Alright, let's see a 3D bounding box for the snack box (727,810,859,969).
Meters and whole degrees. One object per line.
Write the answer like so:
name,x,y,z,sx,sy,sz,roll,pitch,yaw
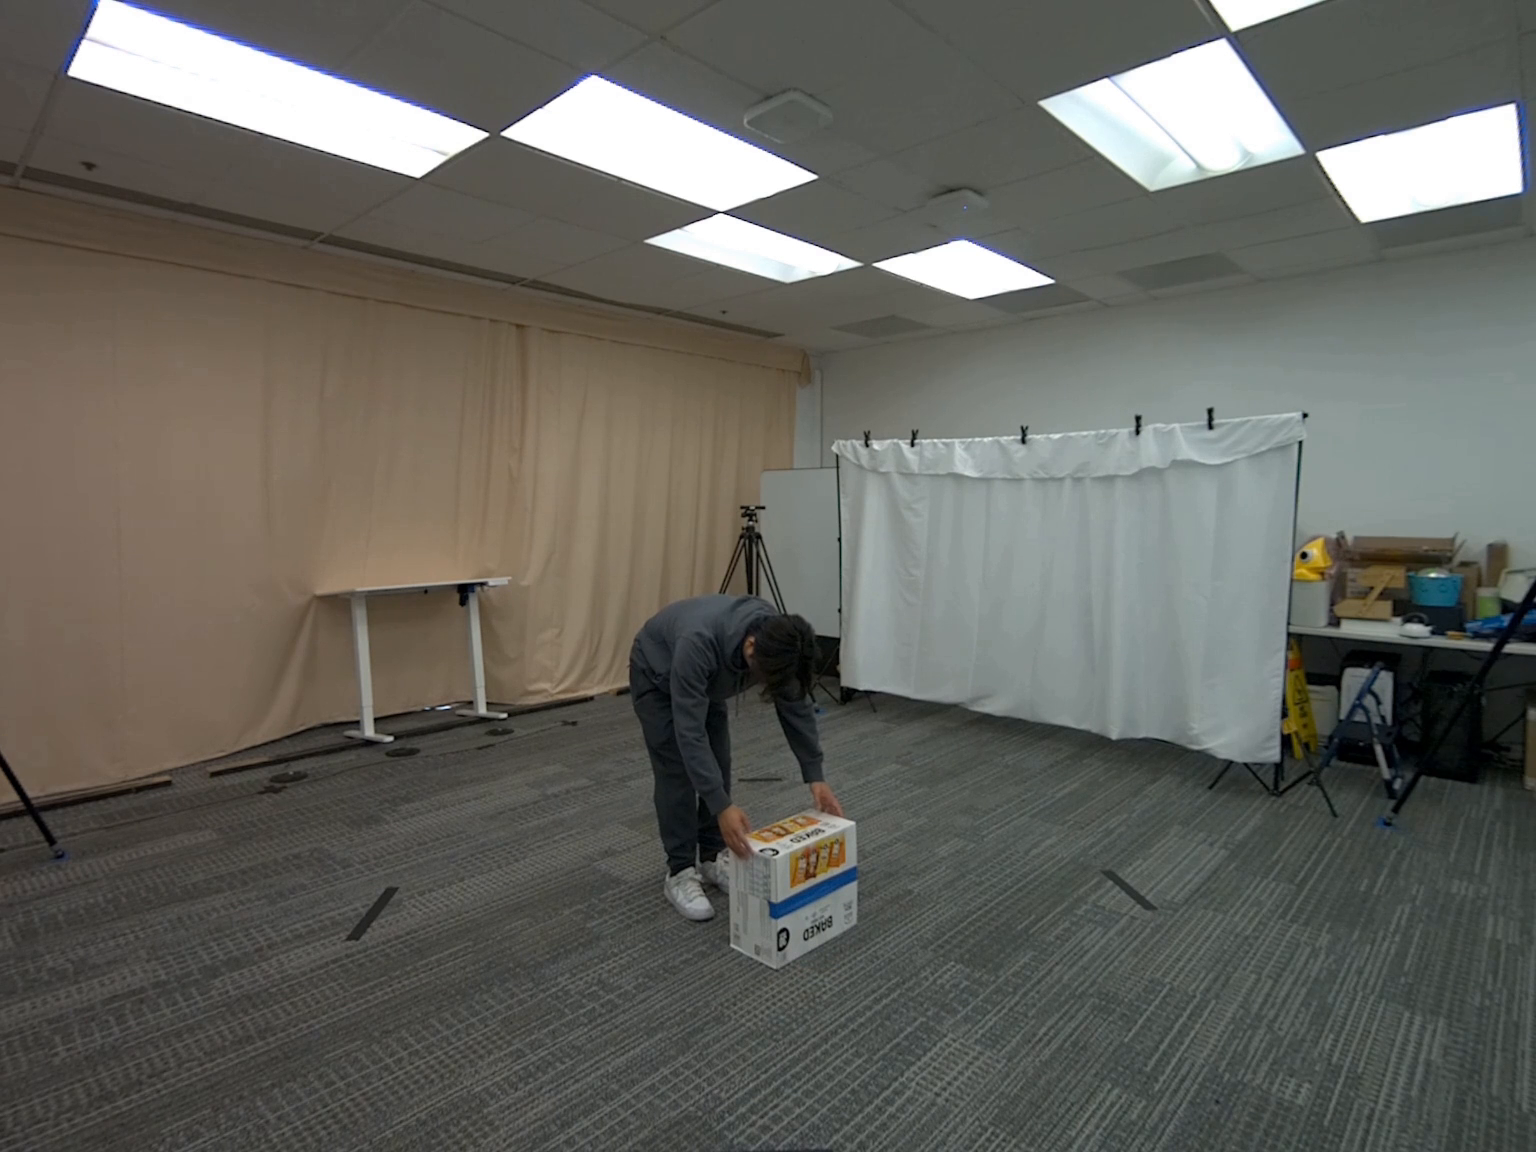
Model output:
snack box,0.090,0.998,2.725,0.212,0.340,0.393,1,3,45
